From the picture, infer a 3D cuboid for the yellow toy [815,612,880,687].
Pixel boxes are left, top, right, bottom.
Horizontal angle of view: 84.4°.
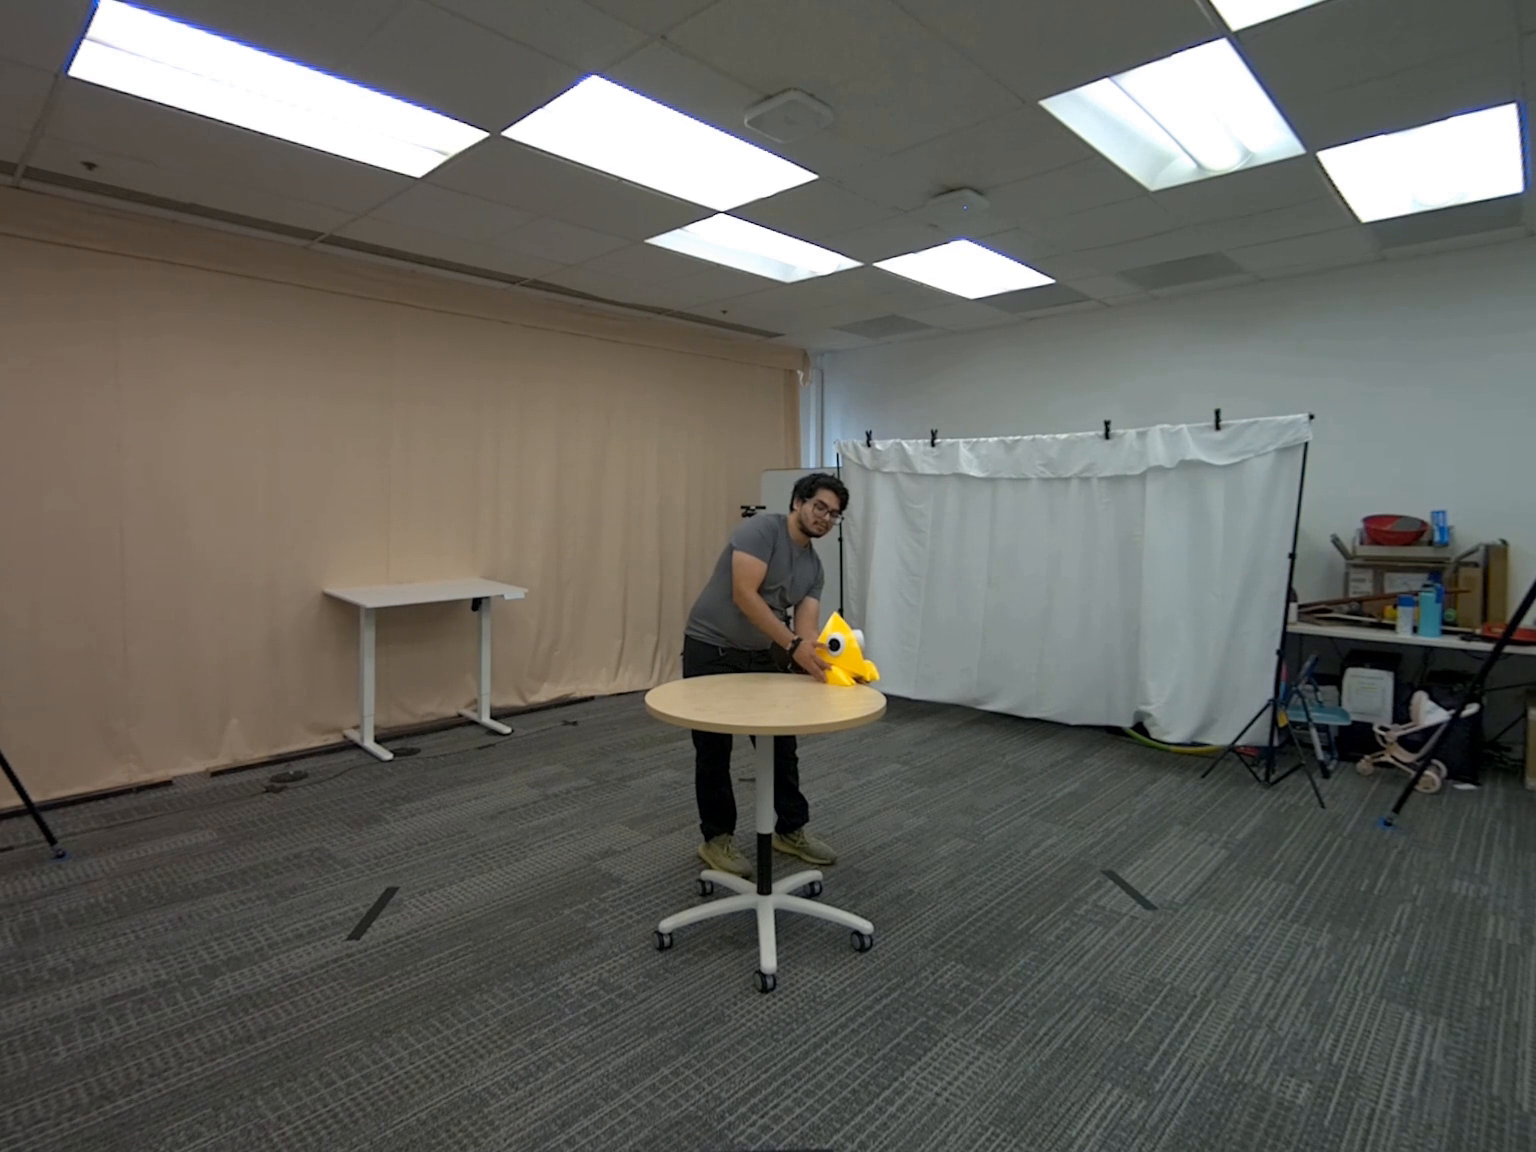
[{"bbox_3d":[0.284,0.250,2.946,0.199,0.230,0.199,-4,4,-33],"label":"yellow toy"}]
